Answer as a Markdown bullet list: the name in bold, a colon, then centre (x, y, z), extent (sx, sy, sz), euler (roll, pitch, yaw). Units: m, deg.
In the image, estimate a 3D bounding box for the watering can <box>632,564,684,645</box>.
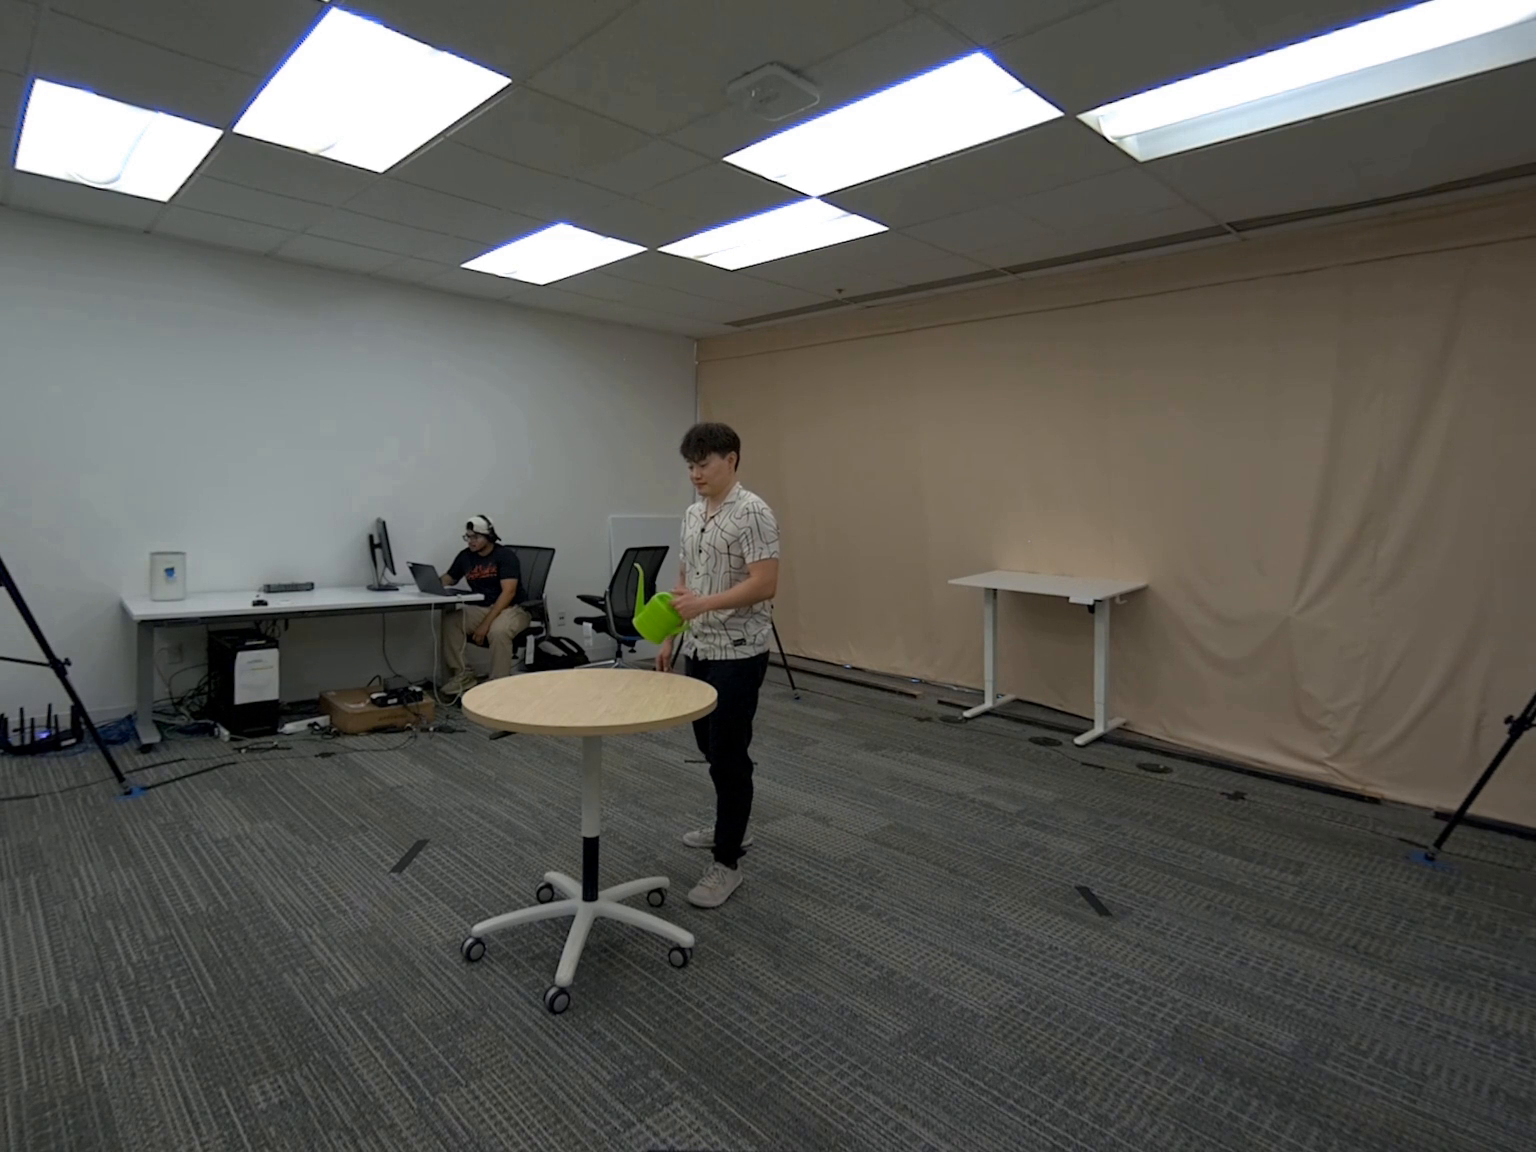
- **watering can**: centre (-0.411, 0.110, 2.944), extent (0.280, 0.177, 0.097), euler (46, 16, 6)
